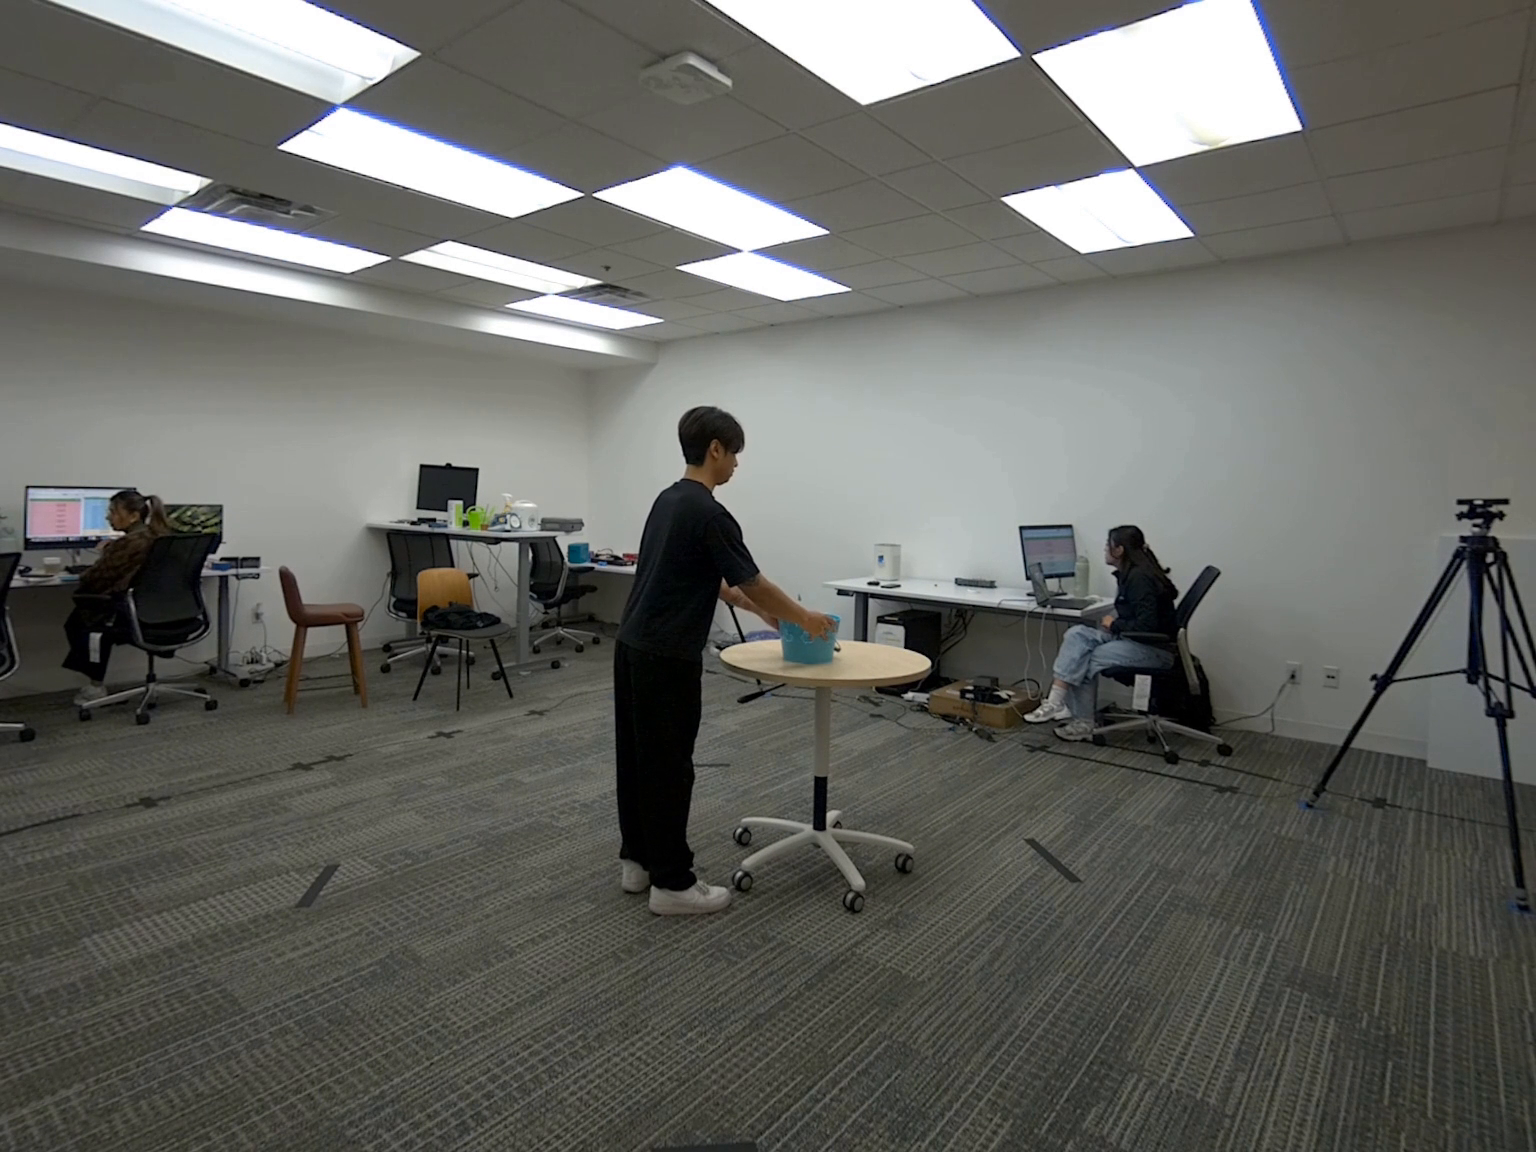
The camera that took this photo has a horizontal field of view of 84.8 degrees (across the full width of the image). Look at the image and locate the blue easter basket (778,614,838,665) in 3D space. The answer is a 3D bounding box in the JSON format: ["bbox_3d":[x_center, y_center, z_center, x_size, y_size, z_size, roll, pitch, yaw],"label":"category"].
[{"bbox_3d":[0.147,0.228,3.085,0.243,0.155,0.245,2,5,-2],"label":"blue easter basket"}]
